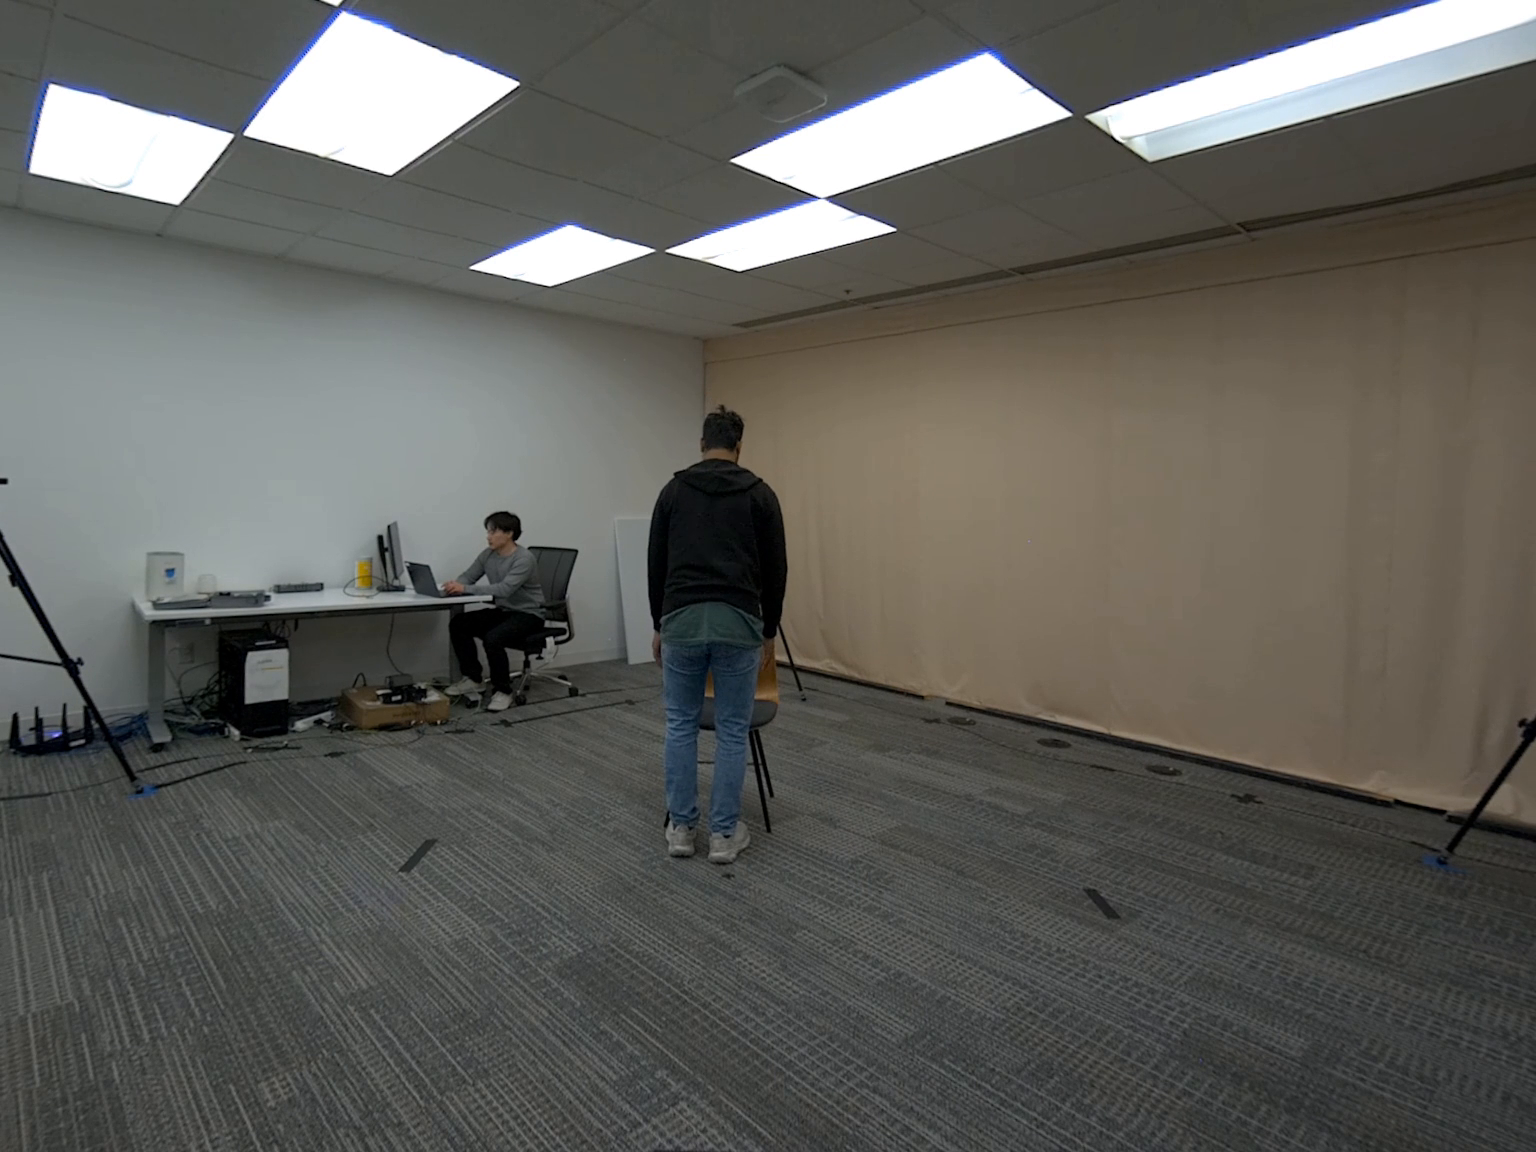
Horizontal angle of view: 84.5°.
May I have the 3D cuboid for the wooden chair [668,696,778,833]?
[{"bbox_3d":[-0.193,0.625,3.721,0.479,0.878,0.521,3,-1,3],"label":"wooden chair"}]
